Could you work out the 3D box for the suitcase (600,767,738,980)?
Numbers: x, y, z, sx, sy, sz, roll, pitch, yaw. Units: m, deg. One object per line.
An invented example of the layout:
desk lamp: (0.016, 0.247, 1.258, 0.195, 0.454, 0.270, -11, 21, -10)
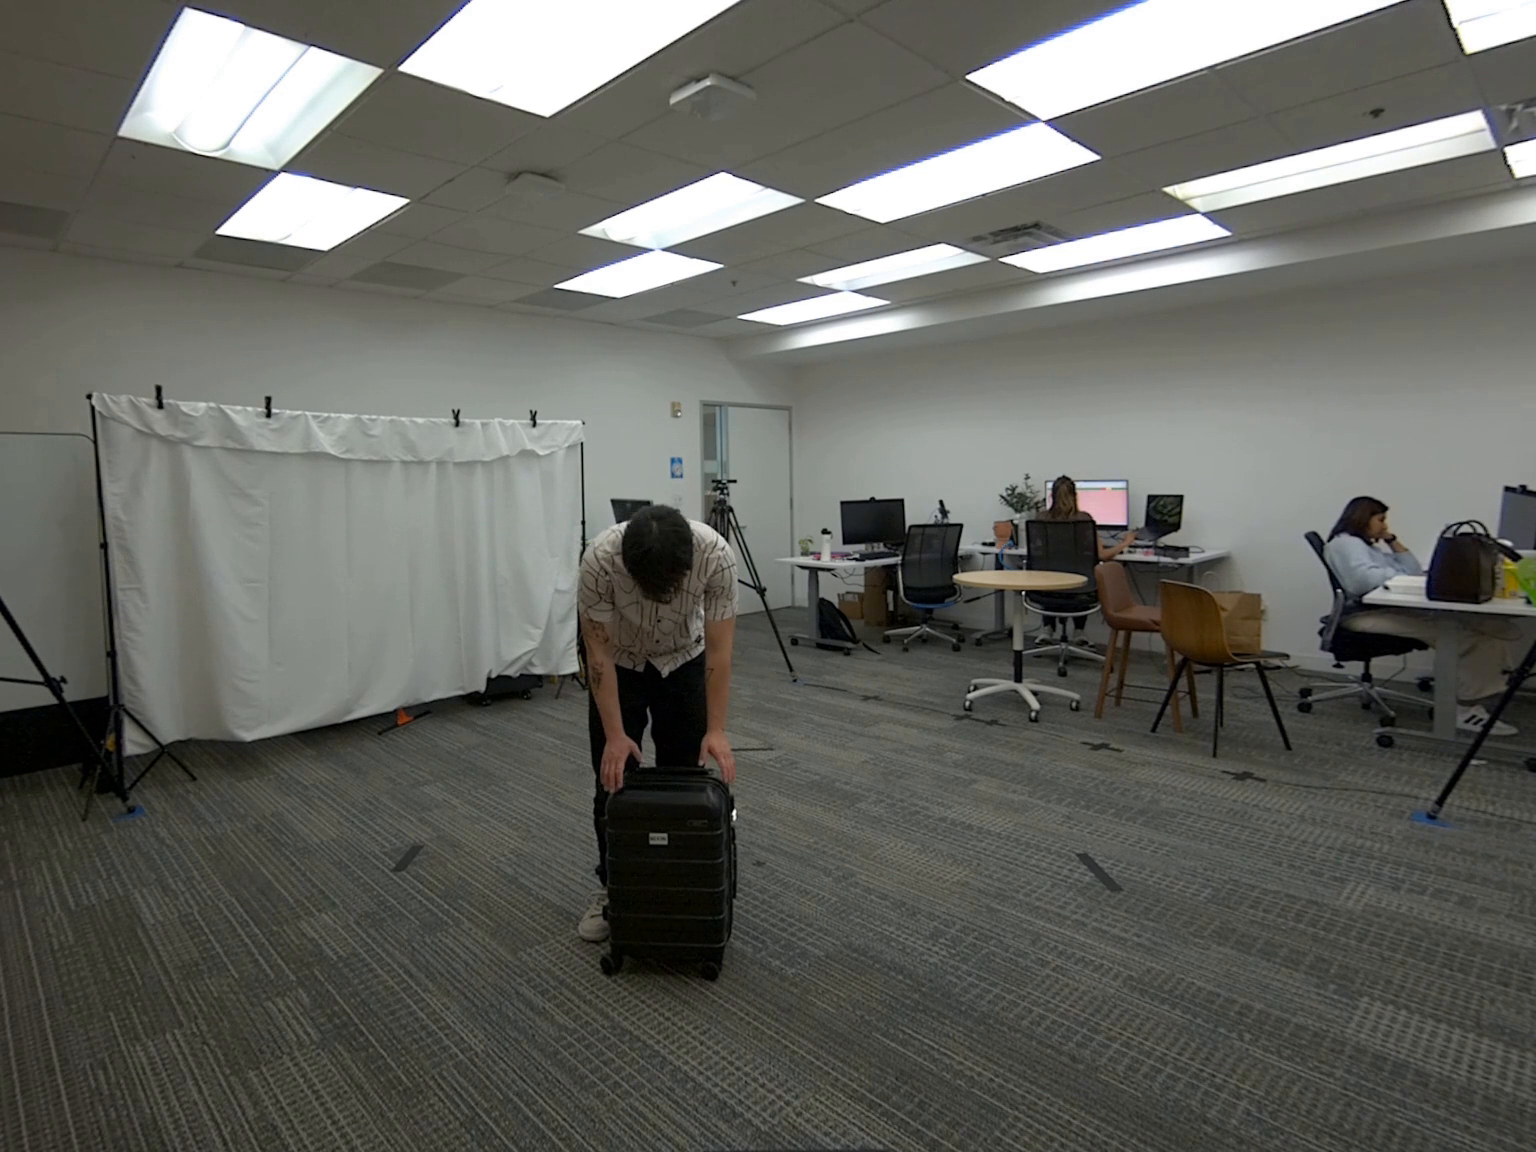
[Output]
suitcase: (-0.279, 0.852, 2.494, 0.378, 0.546, 0.248, 1, 6, 6)
